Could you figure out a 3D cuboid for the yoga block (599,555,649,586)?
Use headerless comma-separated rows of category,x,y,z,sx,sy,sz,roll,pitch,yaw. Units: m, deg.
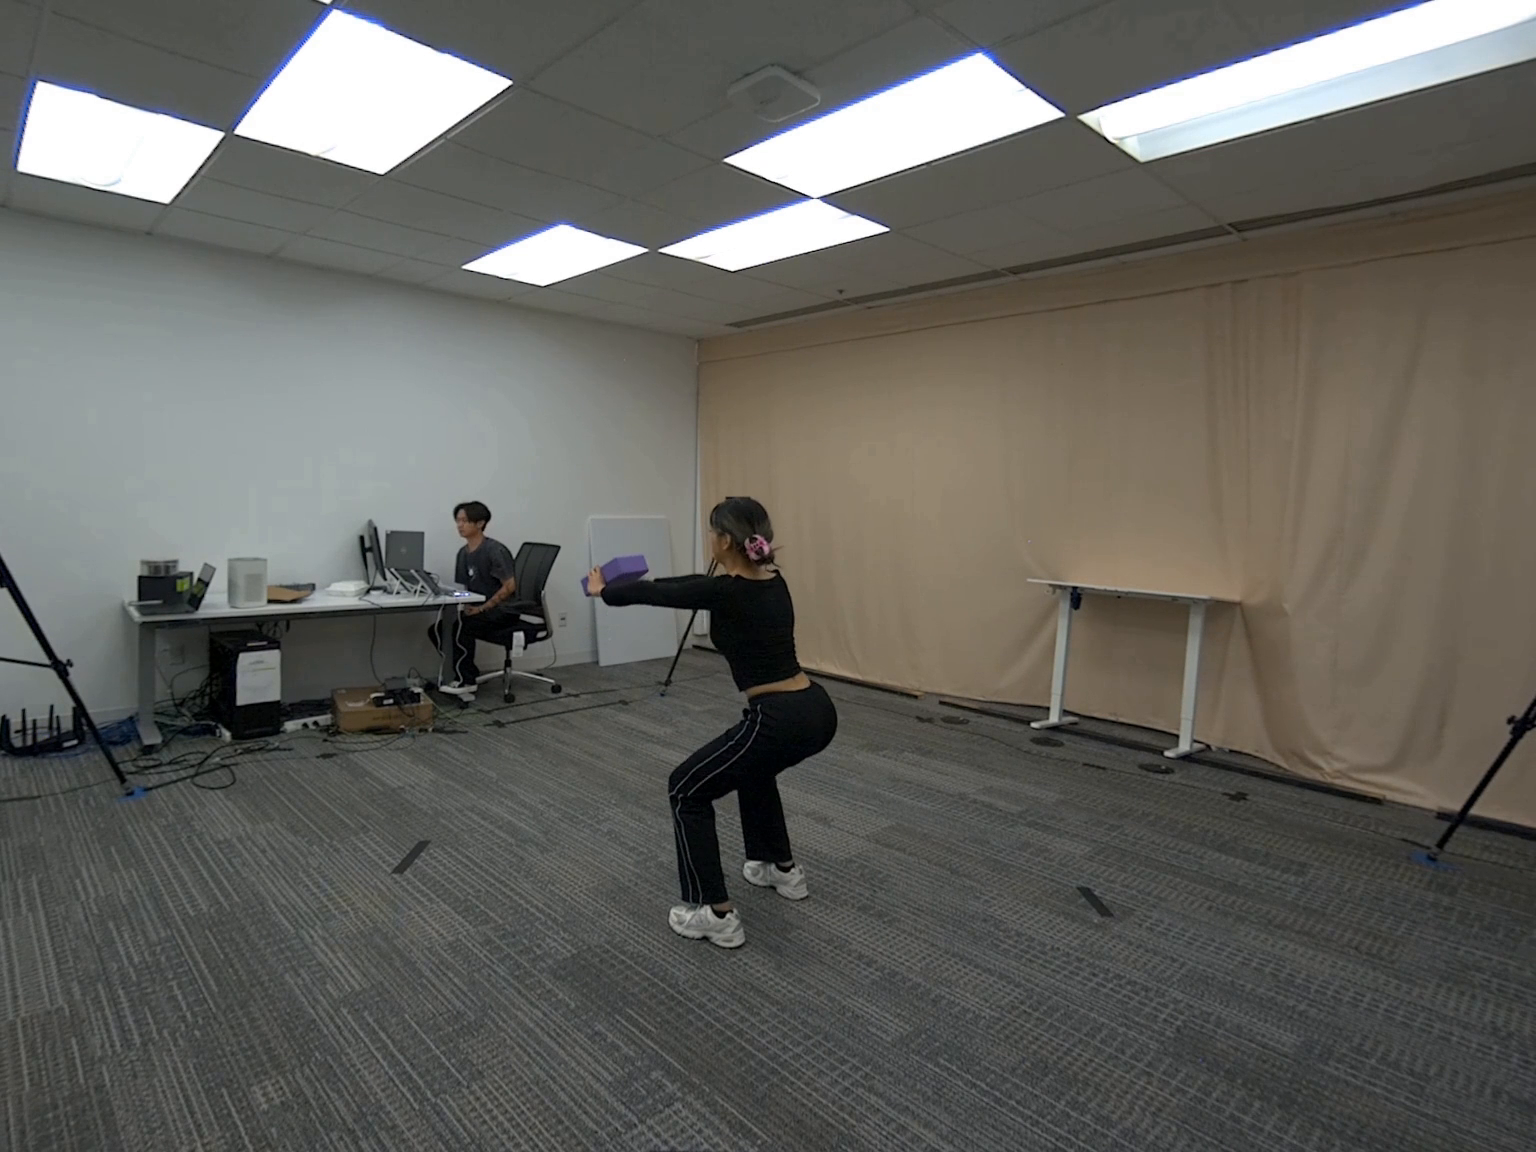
yoga block,-0.576,-0.012,3.134,0.231,0.077,0.146,-28,-11,35
